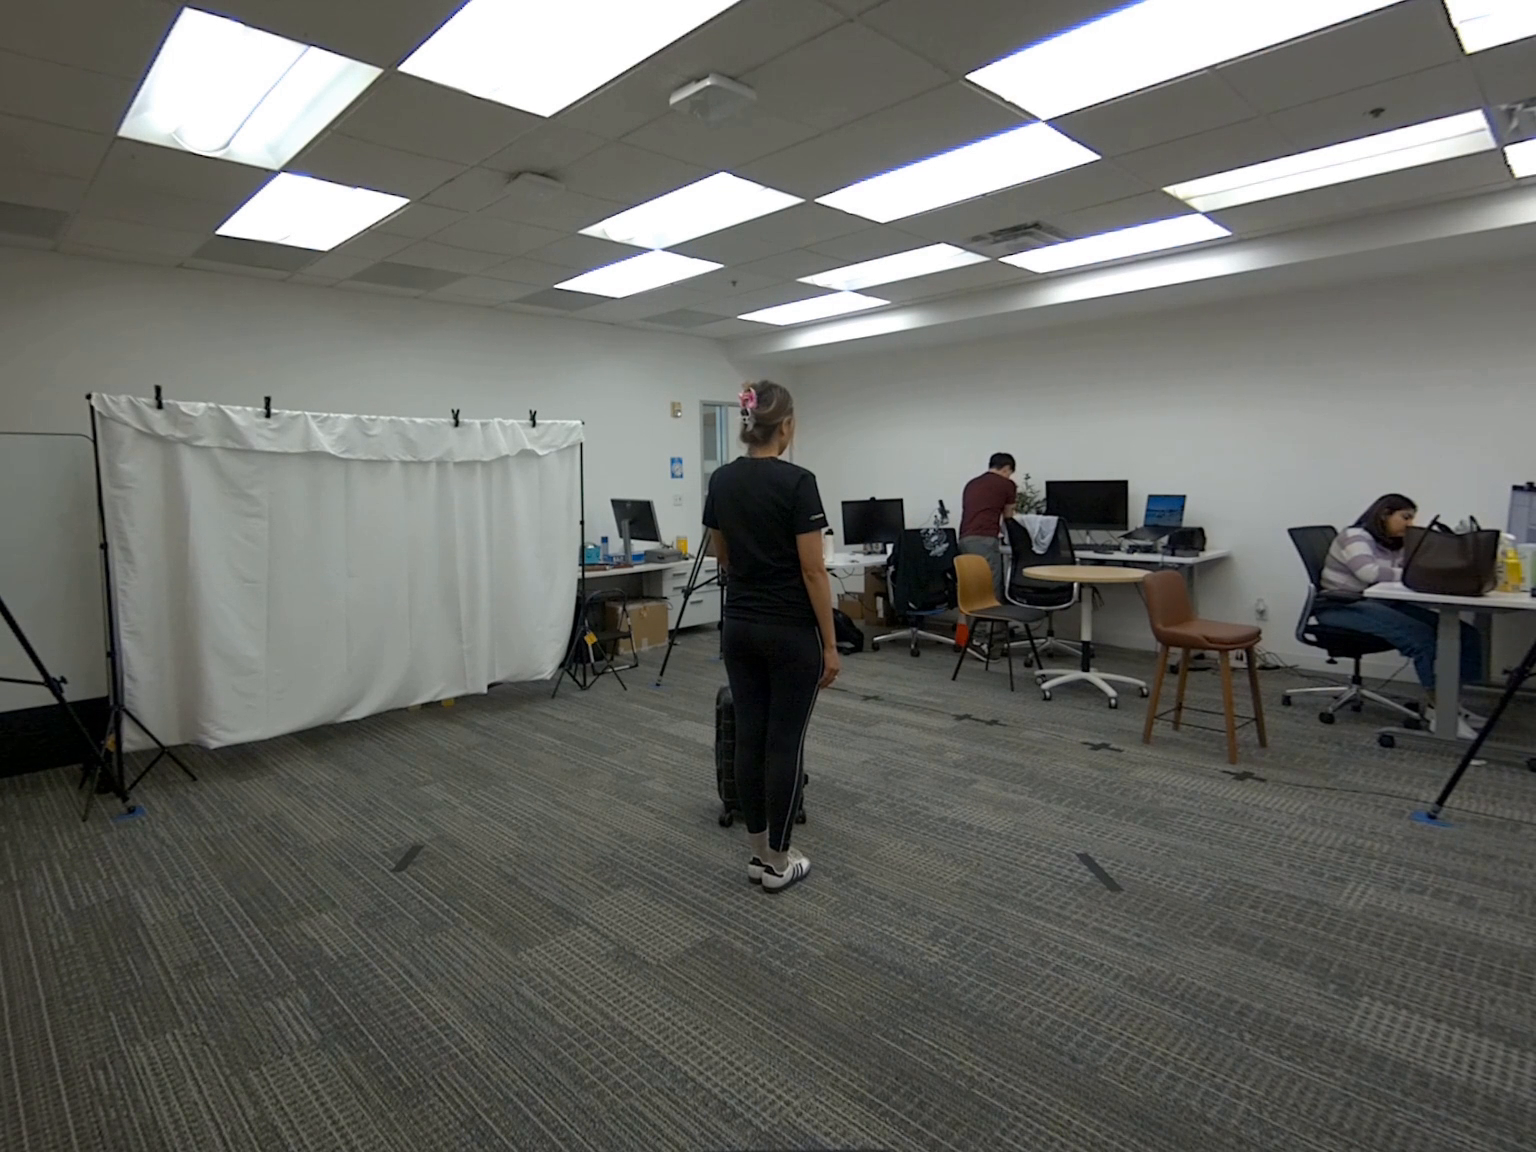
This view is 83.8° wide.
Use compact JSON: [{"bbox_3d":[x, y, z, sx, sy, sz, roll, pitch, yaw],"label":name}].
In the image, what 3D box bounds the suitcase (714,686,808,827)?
[{"bbox_3d":[-0.035,0.521,3.568,0.383,0.978,0.258,-1,0,-4],"label":"suitcase"}]
